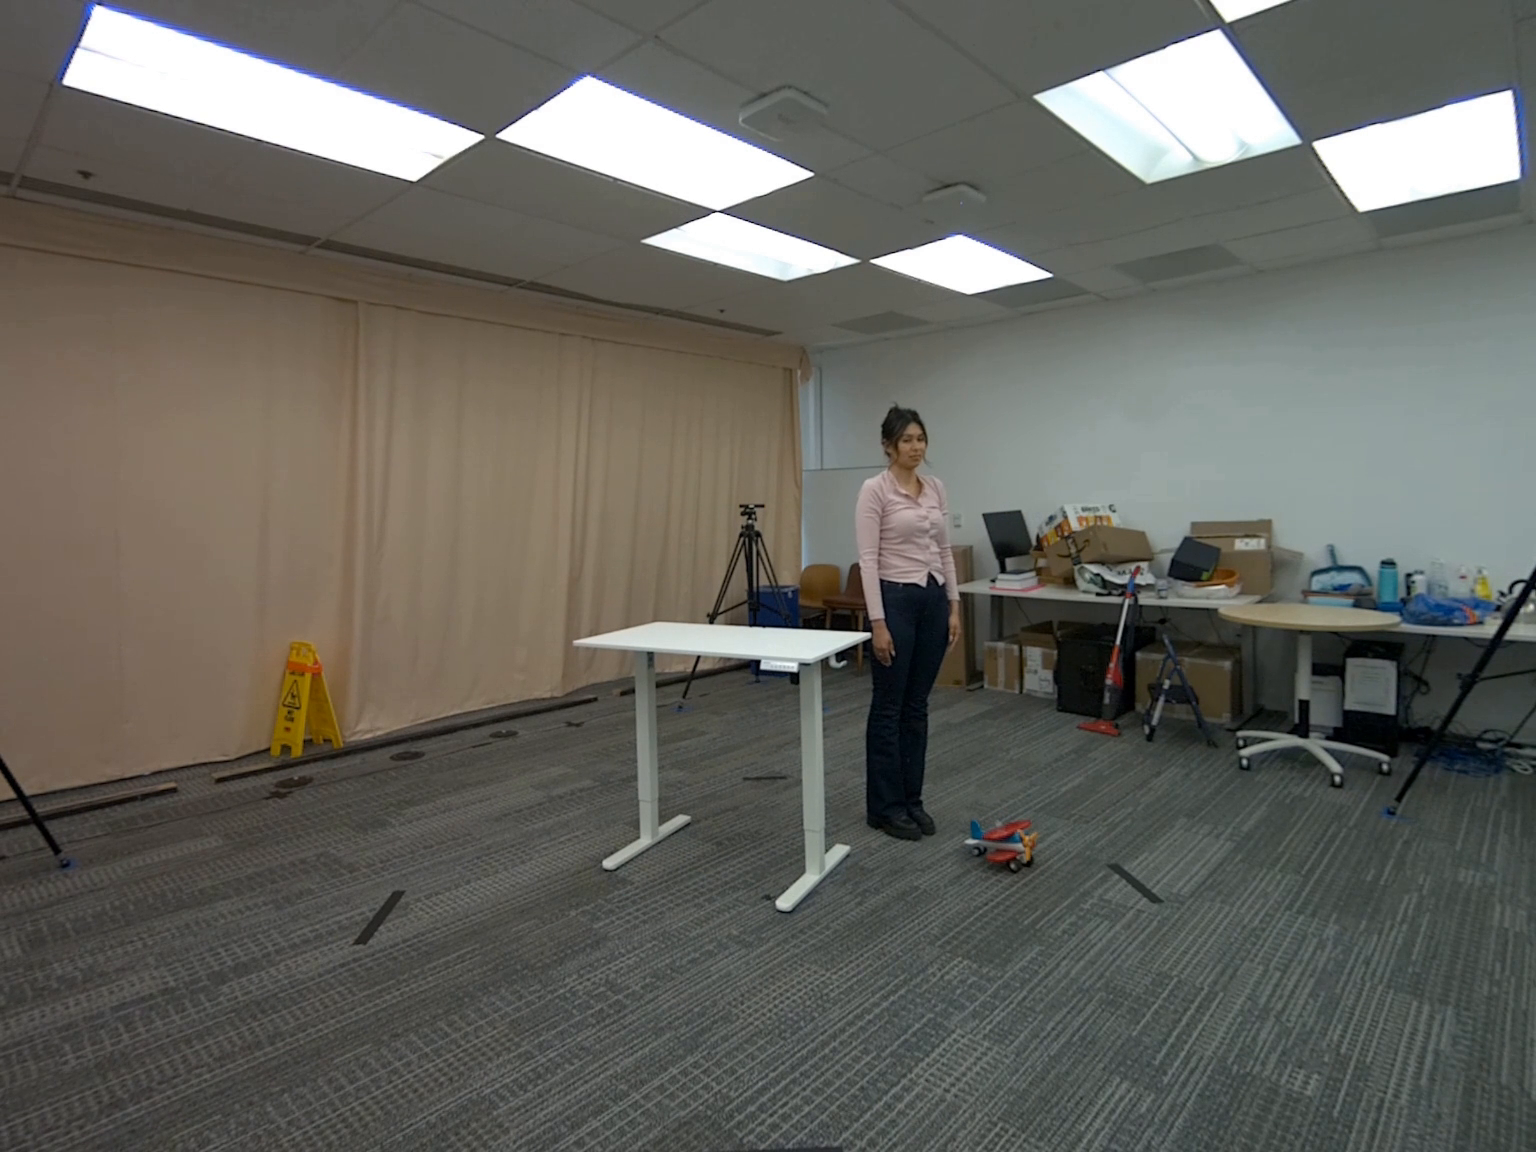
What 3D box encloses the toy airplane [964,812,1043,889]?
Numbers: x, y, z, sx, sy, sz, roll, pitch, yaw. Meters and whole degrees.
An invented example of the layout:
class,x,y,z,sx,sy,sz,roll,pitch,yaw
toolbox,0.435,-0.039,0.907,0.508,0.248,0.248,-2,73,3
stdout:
class,x,y,z,sx,sy,sz,roll,pitch,yaw
toy airplane,0.895,1.034,3.218,0.265,0.156,0.246,2,5,22
